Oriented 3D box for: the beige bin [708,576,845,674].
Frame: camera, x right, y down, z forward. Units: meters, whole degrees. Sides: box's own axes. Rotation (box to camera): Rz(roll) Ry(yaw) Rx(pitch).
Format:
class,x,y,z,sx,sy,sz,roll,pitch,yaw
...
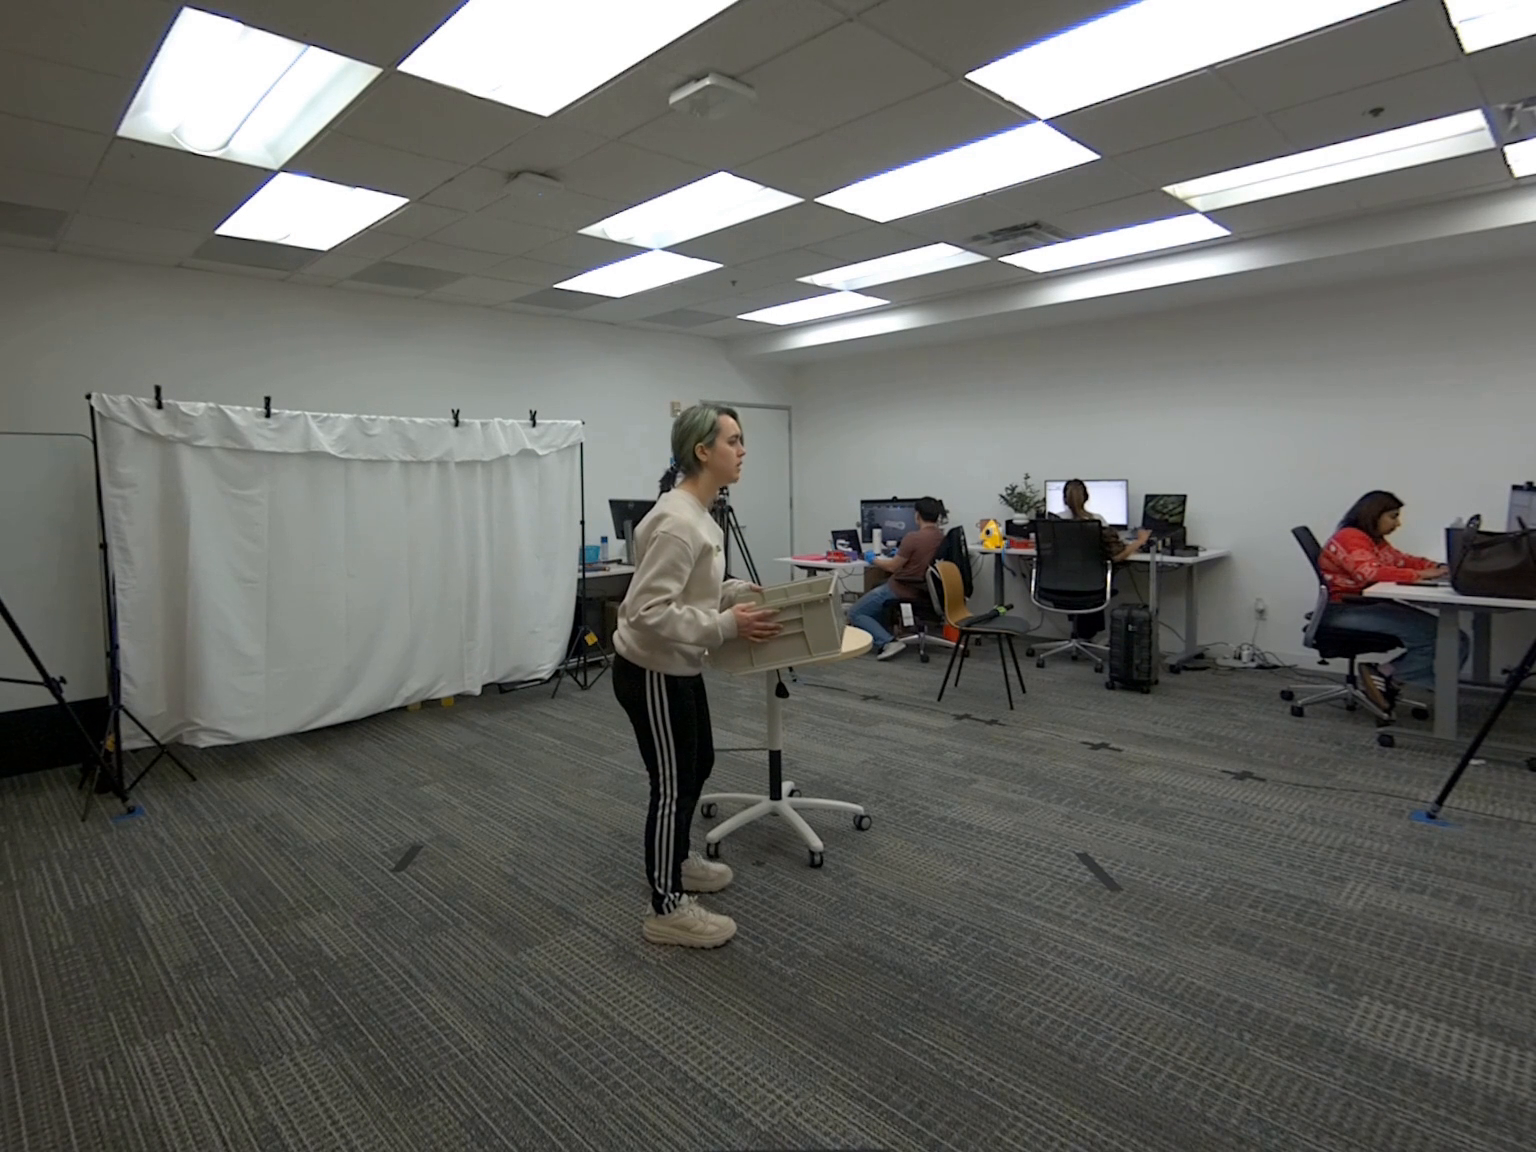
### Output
class,x,y,z,sx,sy,sz,roll,pitch,yaw
beige bin,0.030,0.139,2.555,0.380,0.188,0.422,-10,6,7
